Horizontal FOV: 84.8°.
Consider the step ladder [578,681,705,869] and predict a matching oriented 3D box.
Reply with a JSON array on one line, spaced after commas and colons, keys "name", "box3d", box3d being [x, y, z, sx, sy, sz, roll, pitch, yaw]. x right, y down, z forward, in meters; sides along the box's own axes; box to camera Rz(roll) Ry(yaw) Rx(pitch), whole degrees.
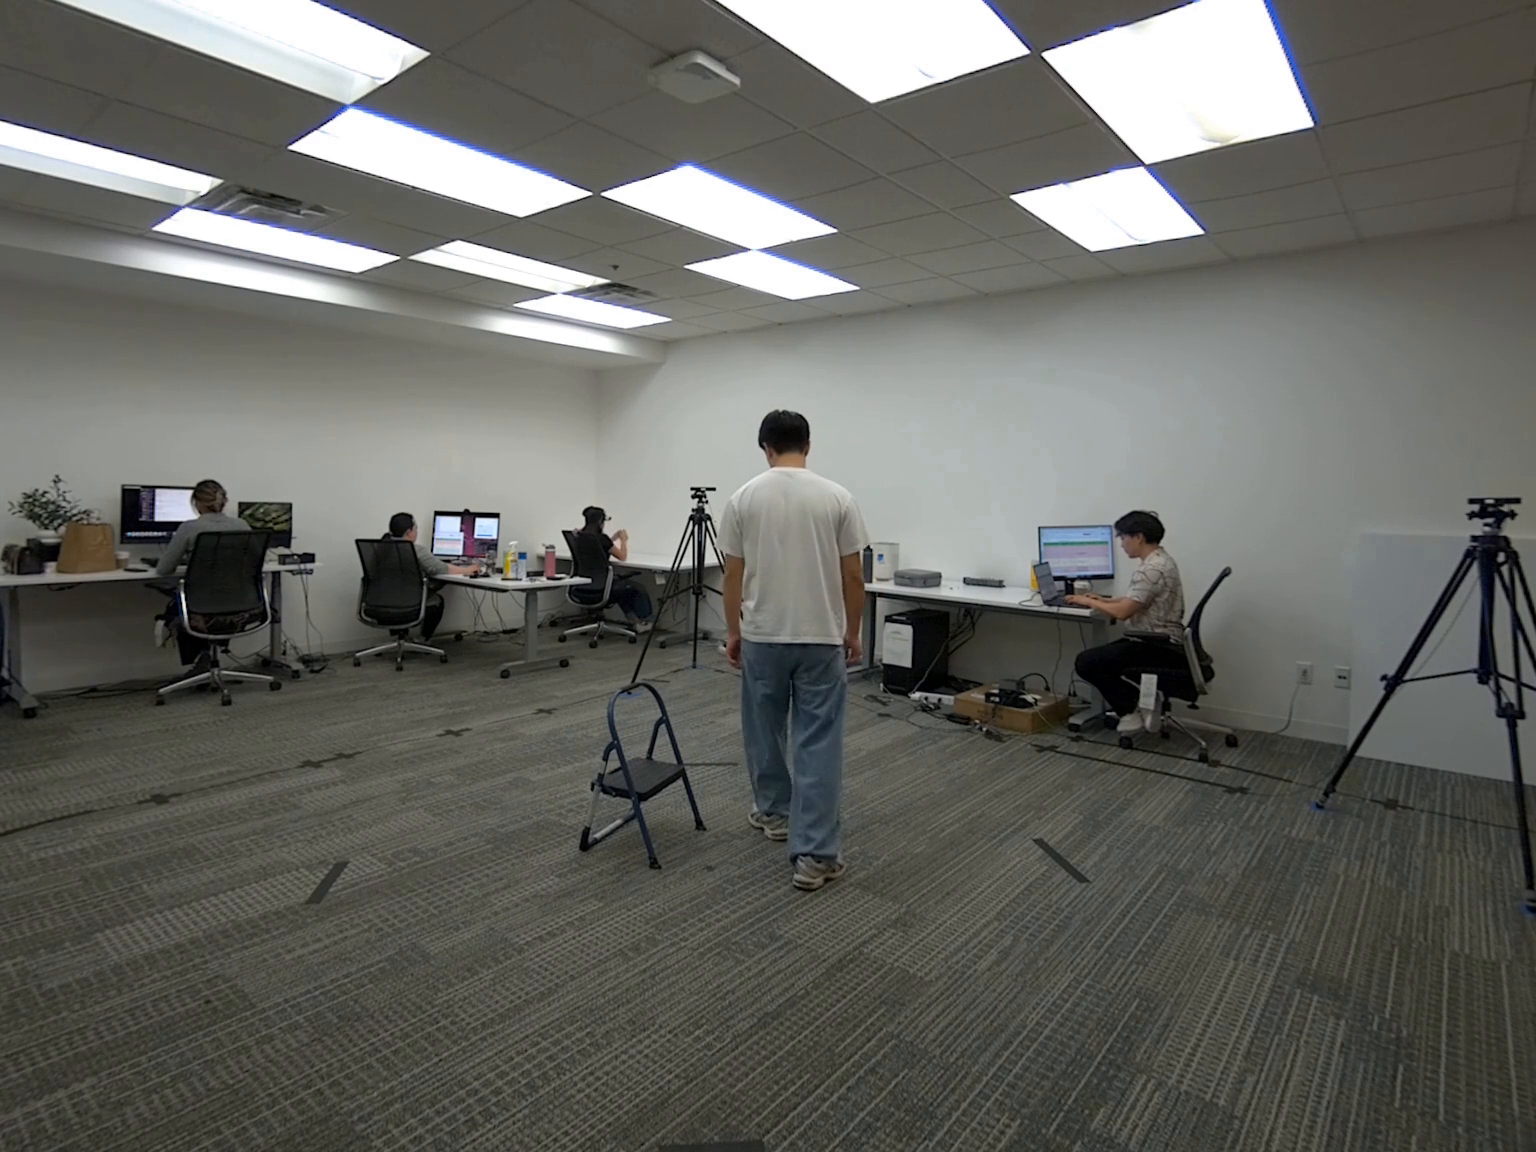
[{"name": "step ladder", "box3d": [-0.494, 0.734, 3.345, 0.358, 0.604, 0.422, 2, 4, 22]}]
